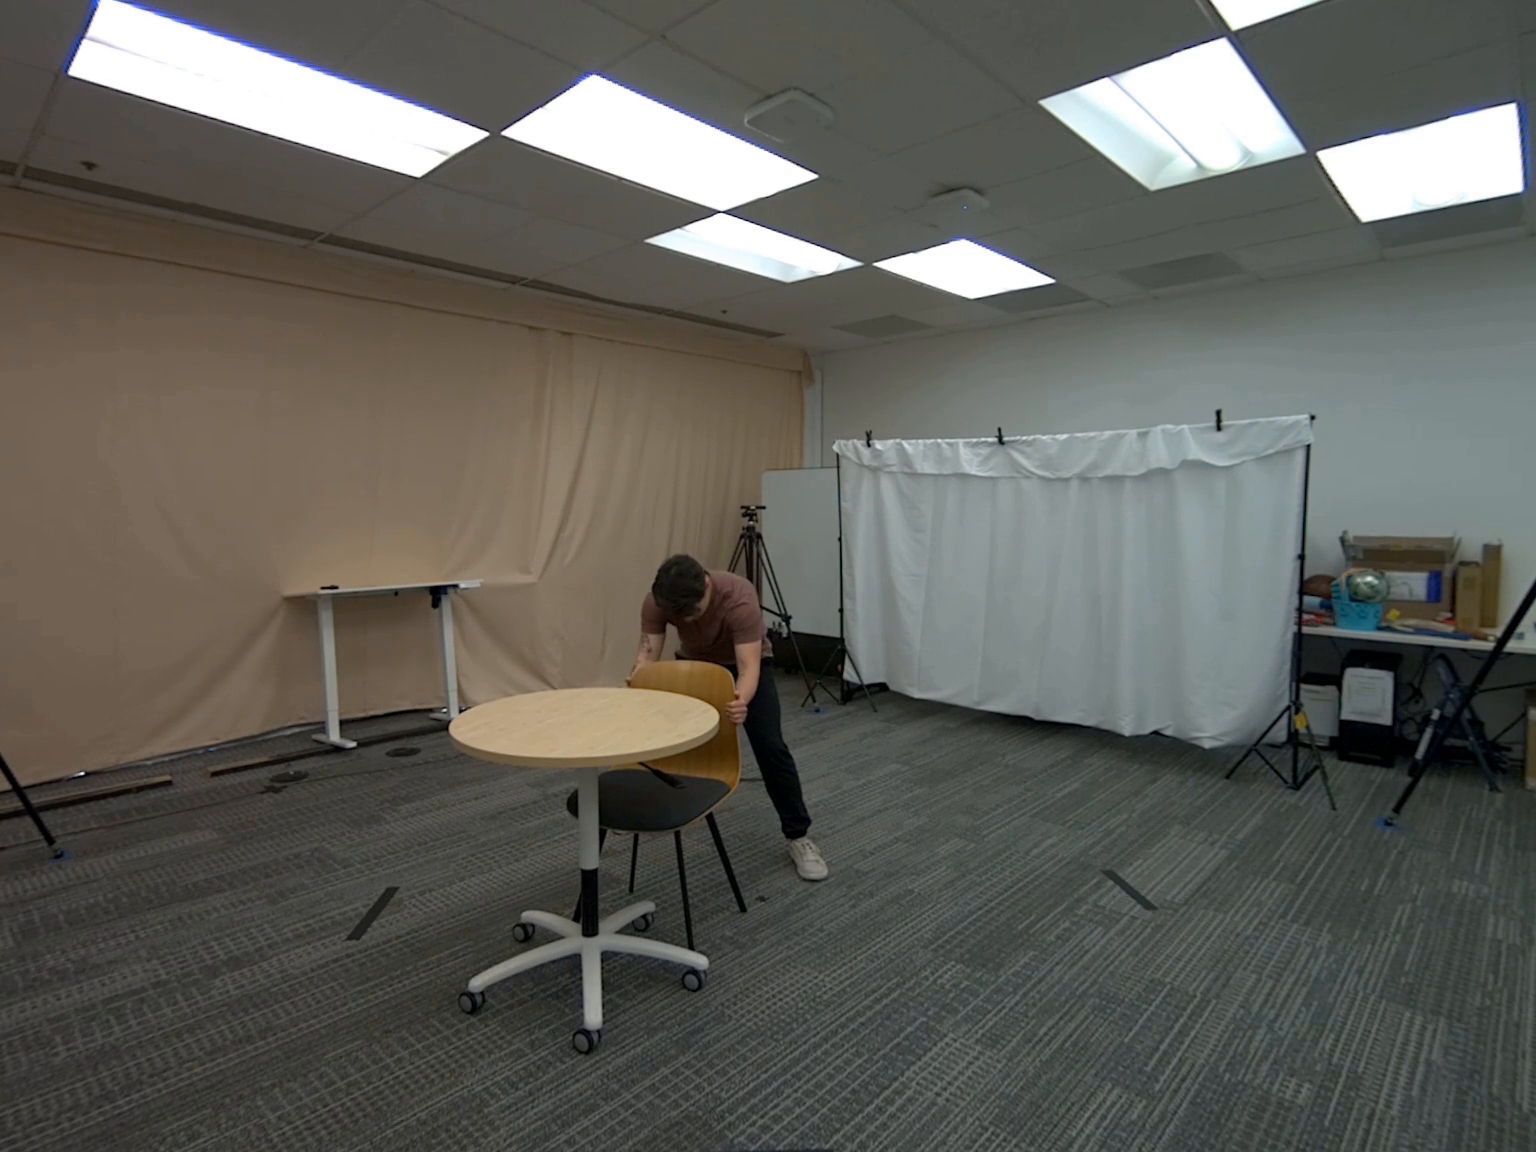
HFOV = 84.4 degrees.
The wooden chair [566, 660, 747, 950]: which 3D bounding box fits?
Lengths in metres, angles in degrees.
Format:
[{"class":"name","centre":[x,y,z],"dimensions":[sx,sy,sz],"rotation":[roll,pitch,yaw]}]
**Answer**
[{"class":"wooden chair","centre":[-0.355,0.738,2.728],"dimensions":[0.489,0.877,0.512],"rotation":[1,0,20]}]
